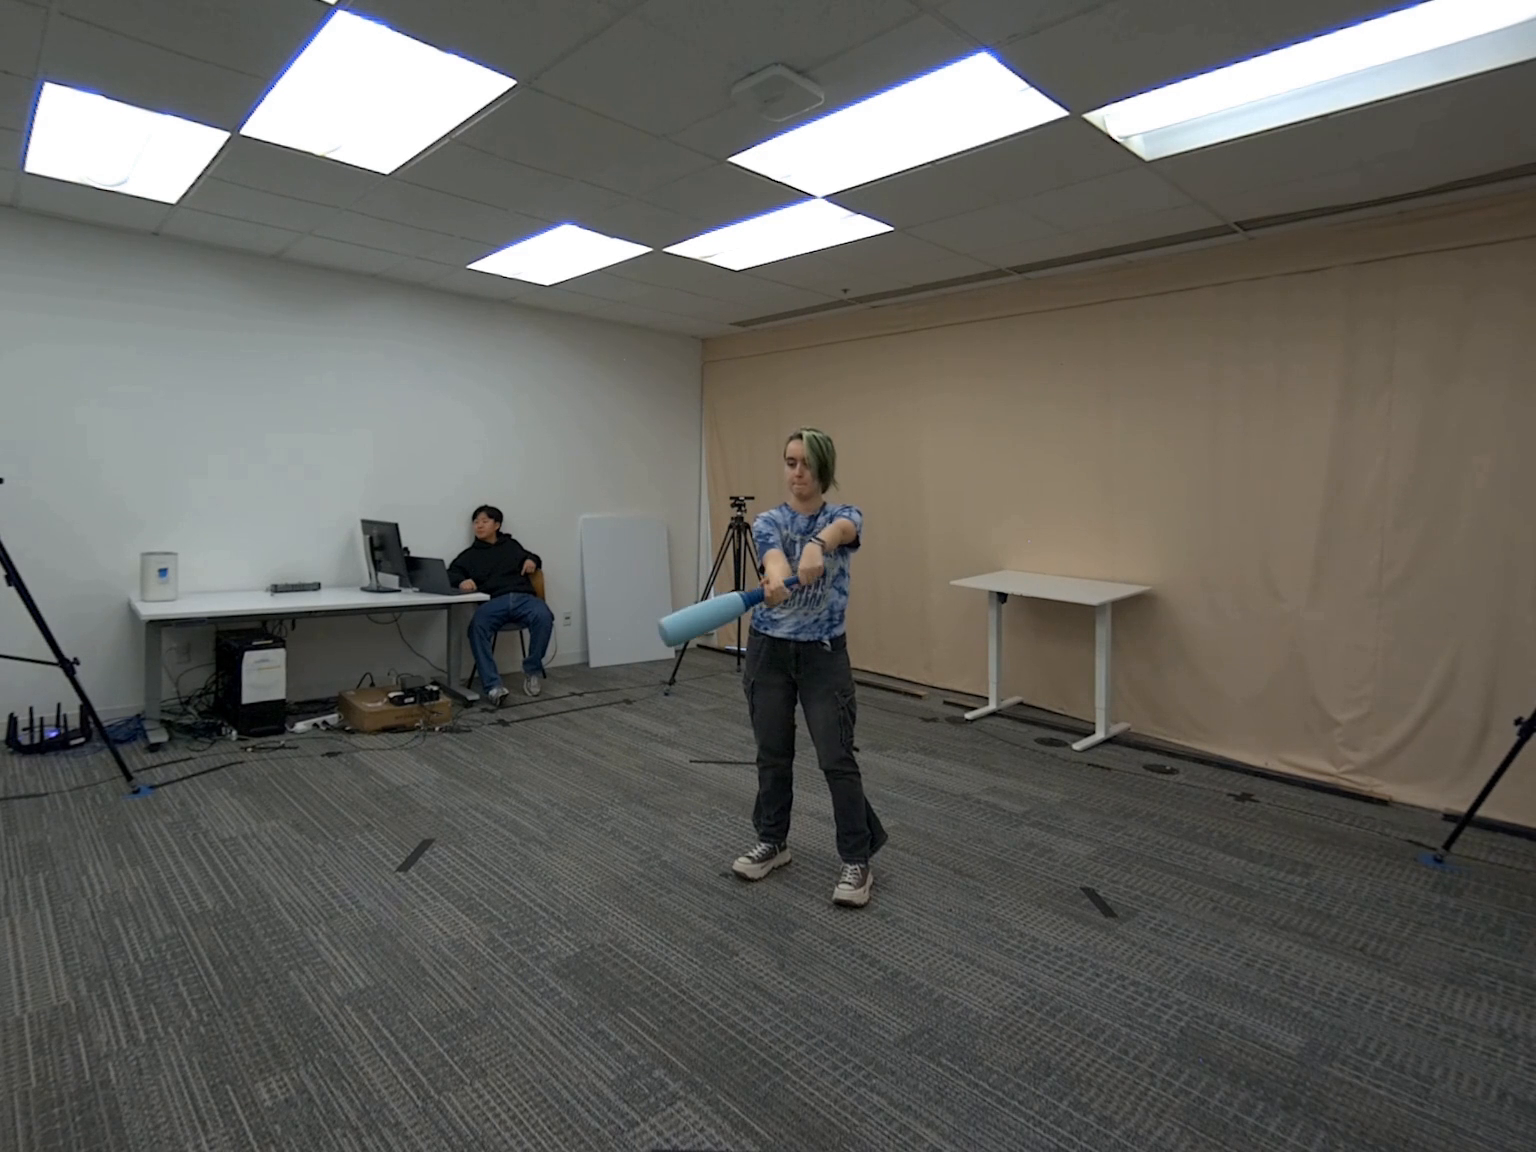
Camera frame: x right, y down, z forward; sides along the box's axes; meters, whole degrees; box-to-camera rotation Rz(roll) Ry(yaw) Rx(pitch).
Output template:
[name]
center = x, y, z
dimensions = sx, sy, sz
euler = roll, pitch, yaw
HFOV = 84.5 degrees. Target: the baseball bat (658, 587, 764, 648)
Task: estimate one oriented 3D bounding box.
[baseball bat]
center = -0.070, 0.074, 2.460
dimensions = 0.538, 0.088, 0.091
euler = -22, 13, -20
